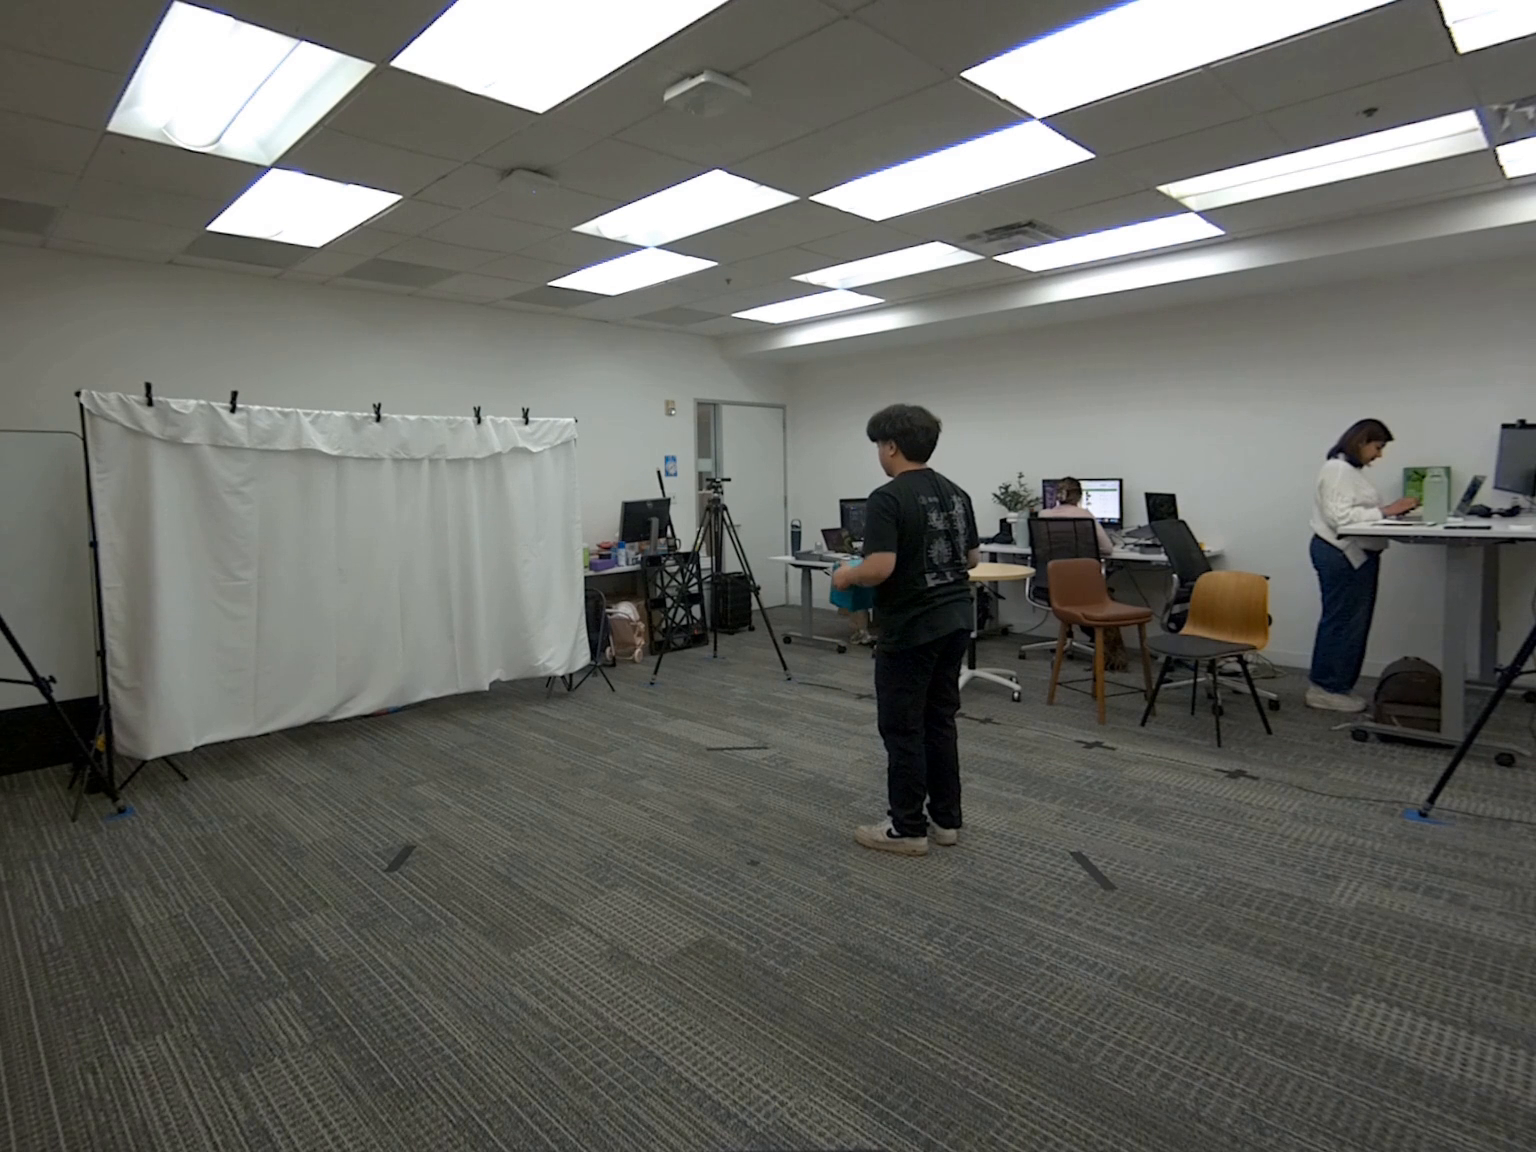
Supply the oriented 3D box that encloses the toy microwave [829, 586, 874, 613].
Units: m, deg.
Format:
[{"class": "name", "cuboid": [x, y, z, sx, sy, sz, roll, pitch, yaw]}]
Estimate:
[{"class": "toy microwave", "cuboid": [0.397, 0.038, 3.468, 0.279, 0.182, 0.158, -7, 15, -40]}]
